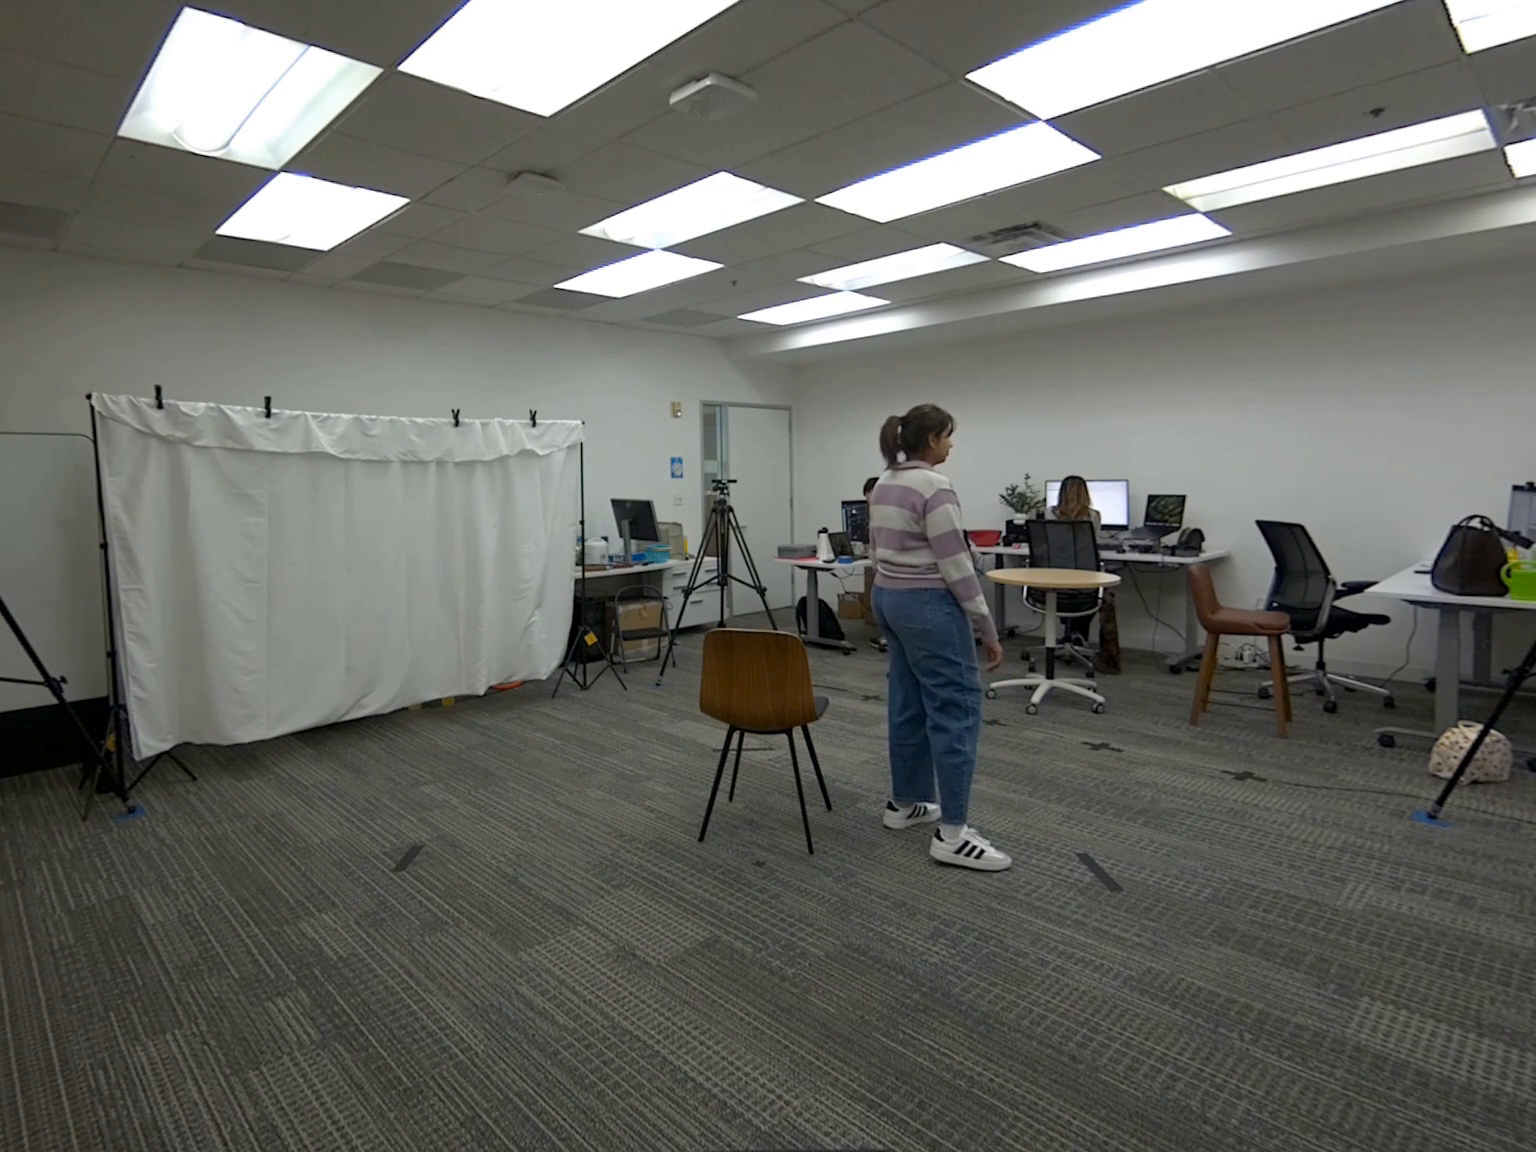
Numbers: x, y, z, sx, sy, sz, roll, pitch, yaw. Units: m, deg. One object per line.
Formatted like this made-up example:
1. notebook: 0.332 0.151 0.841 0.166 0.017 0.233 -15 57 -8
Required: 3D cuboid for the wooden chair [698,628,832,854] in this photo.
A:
1. wooden chair: -0.001 0.583 3.429 0.485 0.871 0.519 0 8 15
